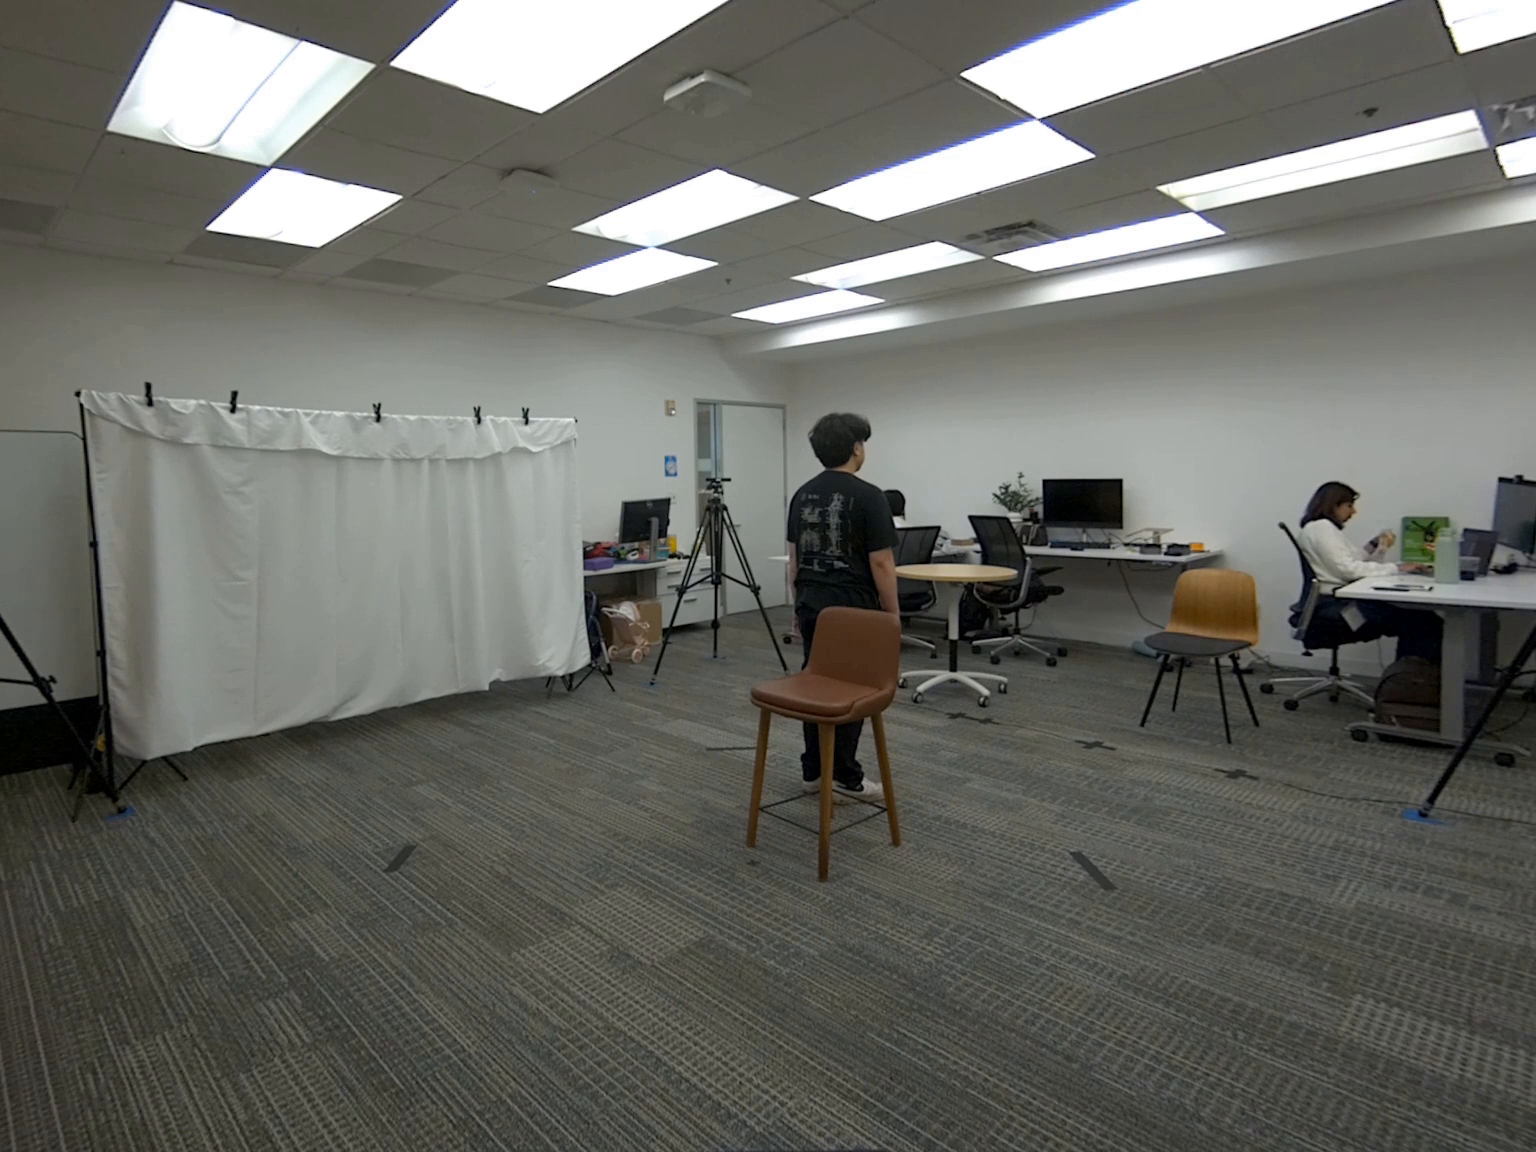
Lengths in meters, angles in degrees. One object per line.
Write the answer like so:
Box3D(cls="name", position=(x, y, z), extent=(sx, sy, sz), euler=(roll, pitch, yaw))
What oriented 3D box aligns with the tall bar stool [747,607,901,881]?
Box3D(cls="tall bar stool", position=(0.220, 0.588, 3.220), extent=(0.454, 0.888, 0.470), euler=(-1, 4, -41))
